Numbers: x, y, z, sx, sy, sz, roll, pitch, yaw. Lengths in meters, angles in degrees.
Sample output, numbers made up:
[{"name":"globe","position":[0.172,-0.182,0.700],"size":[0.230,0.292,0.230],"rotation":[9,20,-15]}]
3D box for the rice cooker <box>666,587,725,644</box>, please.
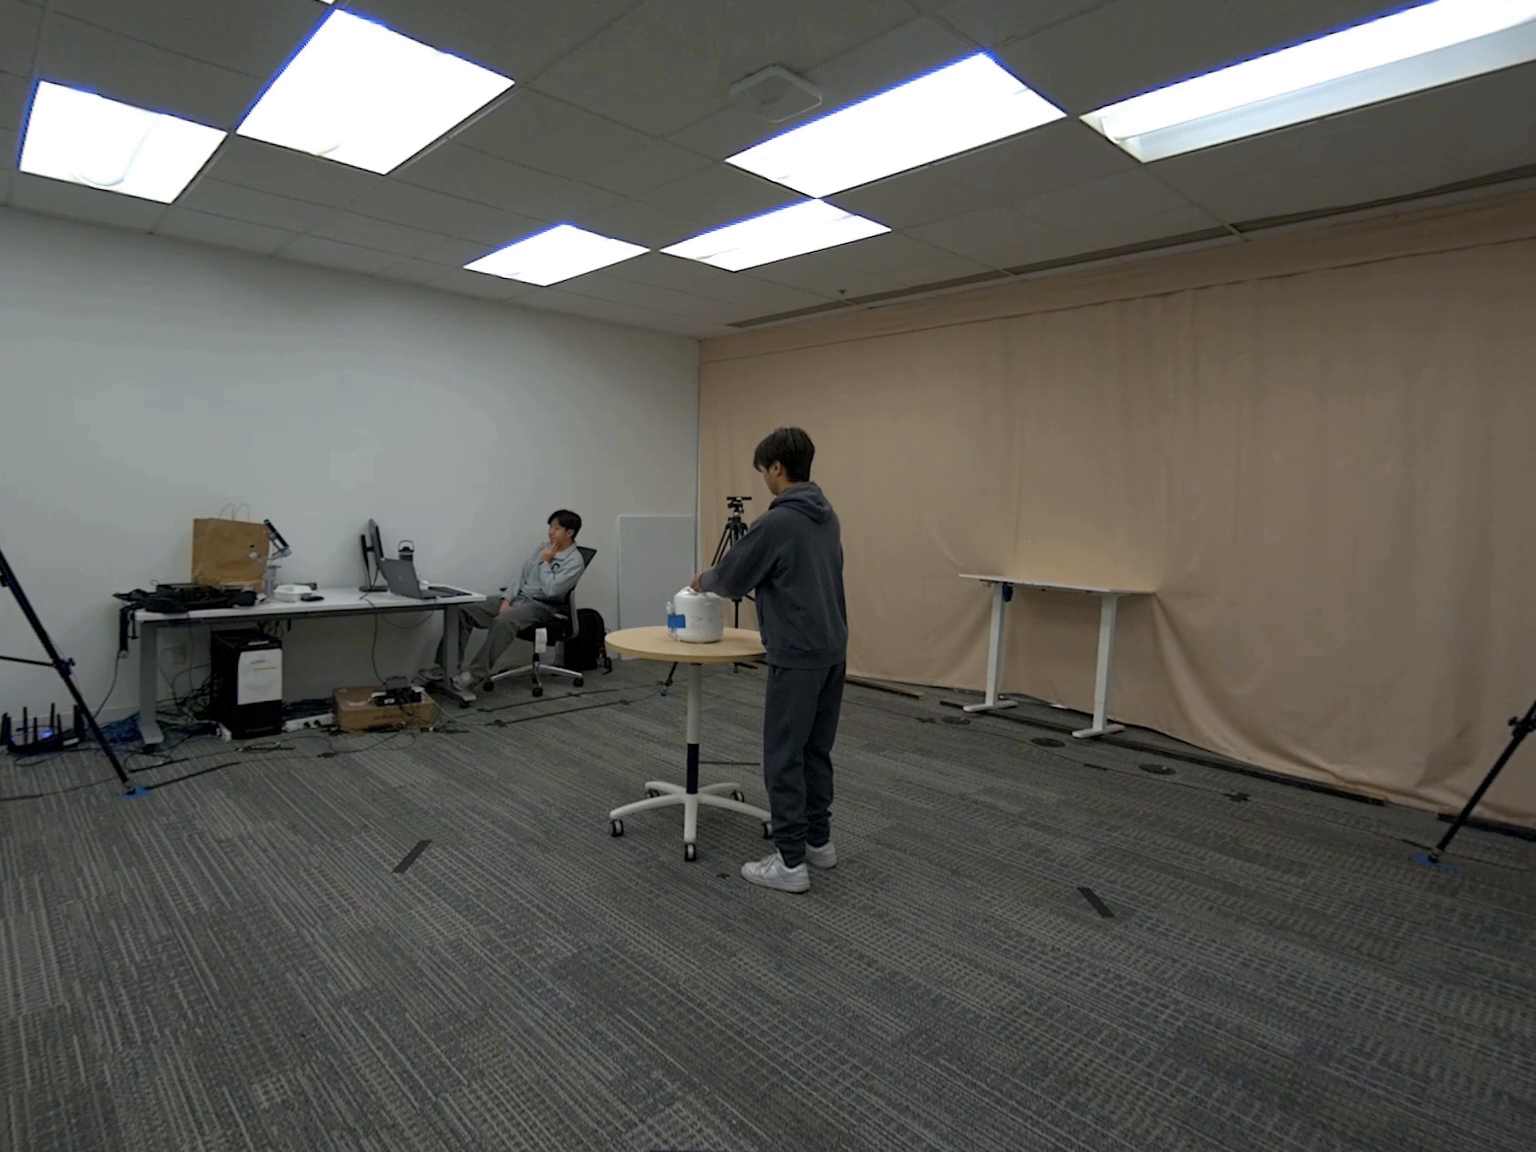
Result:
[{"name":"rice cooker","position":[-0.297,0.154,3.522],"size":[0.225,0.232,0.214],"rotation":[4,5,27]}]
